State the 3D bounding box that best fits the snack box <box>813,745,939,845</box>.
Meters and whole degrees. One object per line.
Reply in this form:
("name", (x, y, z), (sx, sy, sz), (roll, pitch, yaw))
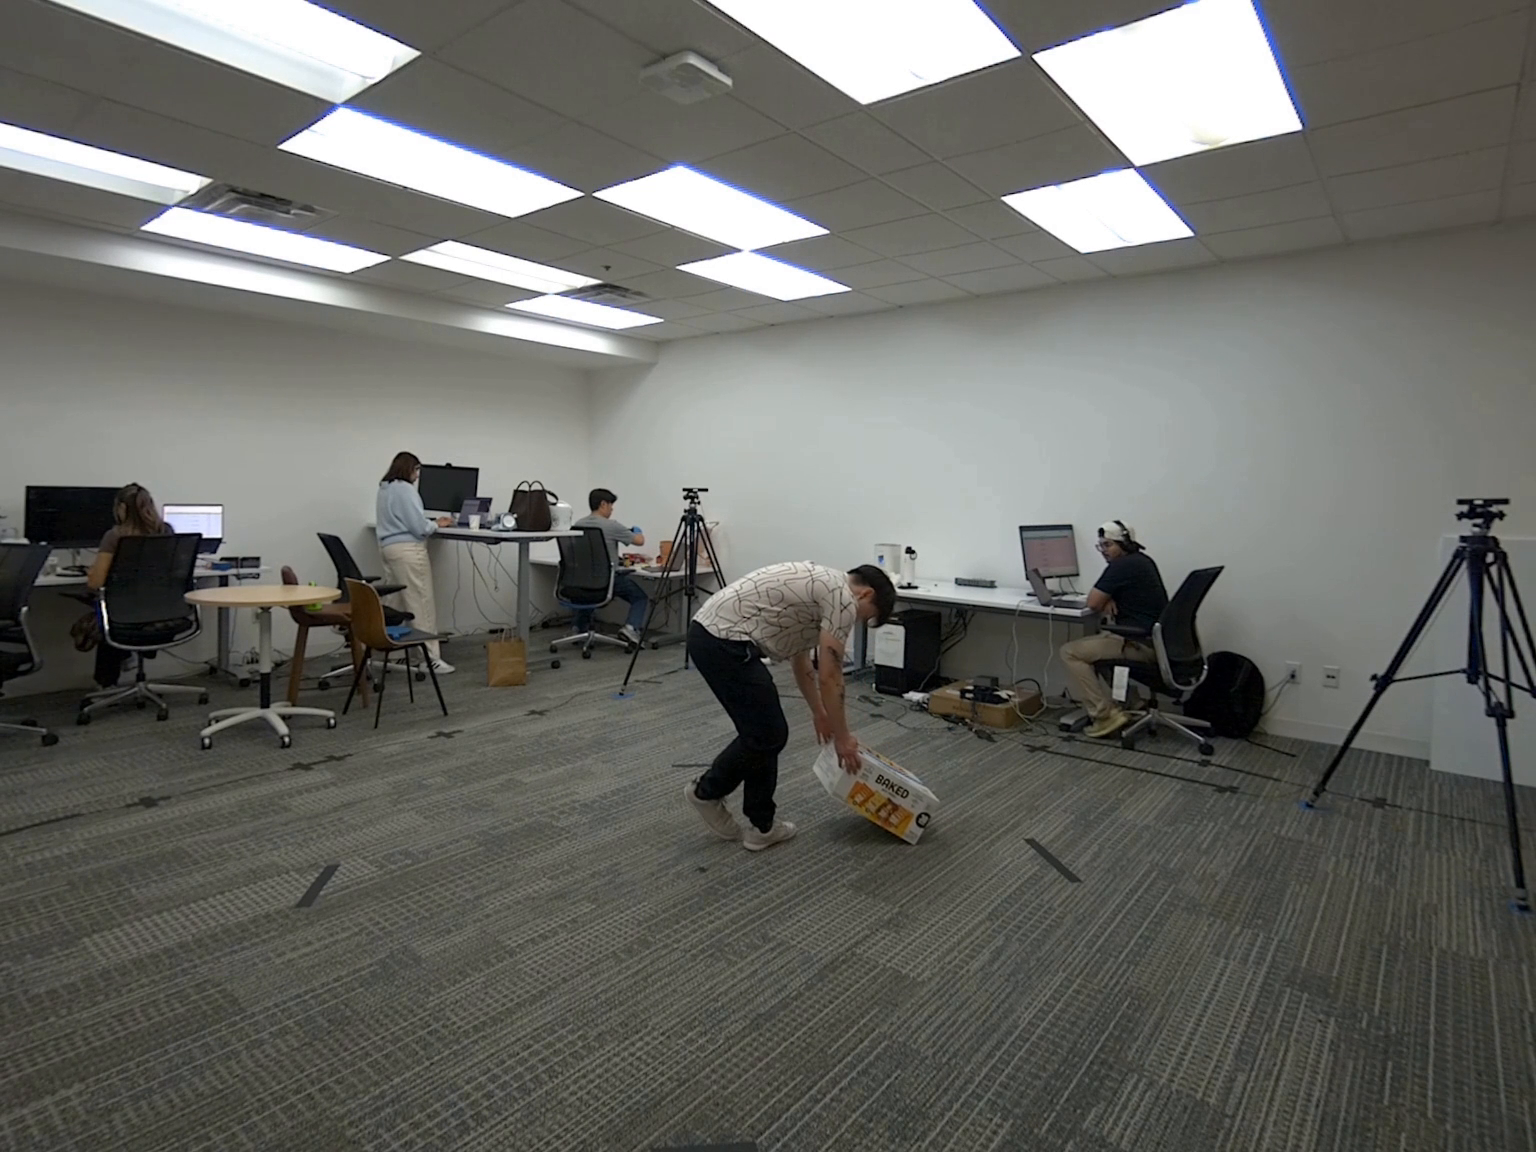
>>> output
("snack box", (0.430, 0.859, 3.509), (0.401, 0.205, 0.344), (30, 1, -9))
